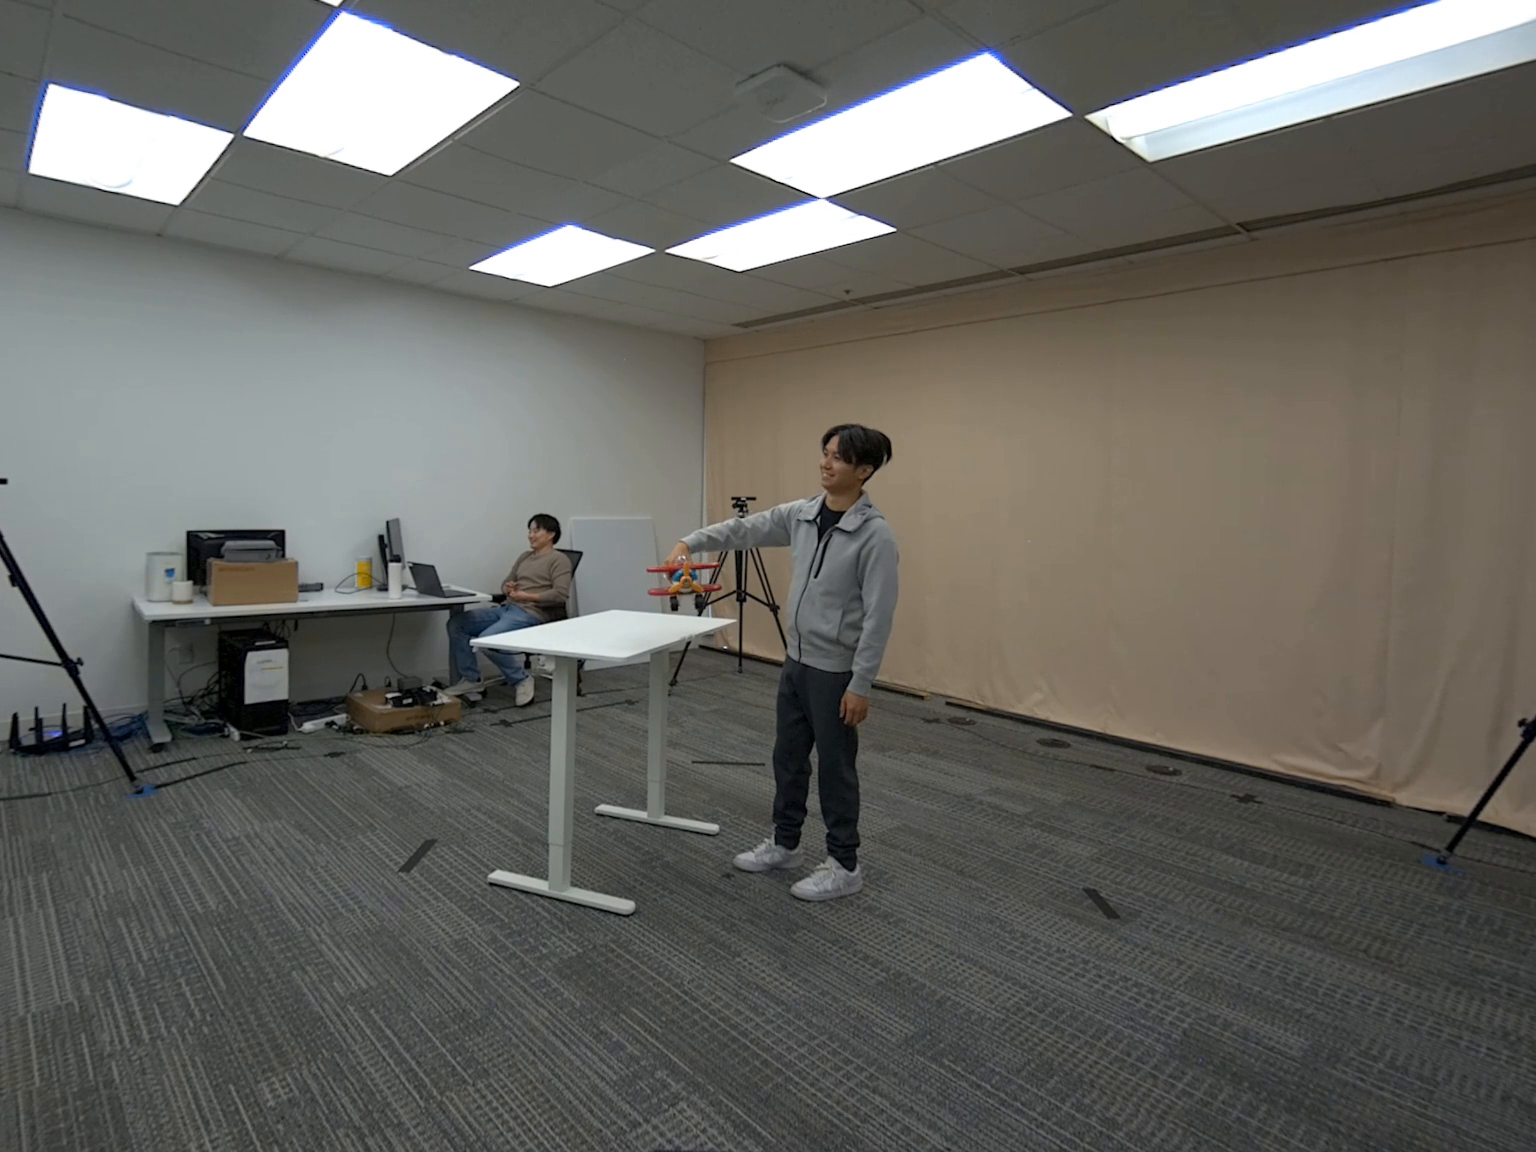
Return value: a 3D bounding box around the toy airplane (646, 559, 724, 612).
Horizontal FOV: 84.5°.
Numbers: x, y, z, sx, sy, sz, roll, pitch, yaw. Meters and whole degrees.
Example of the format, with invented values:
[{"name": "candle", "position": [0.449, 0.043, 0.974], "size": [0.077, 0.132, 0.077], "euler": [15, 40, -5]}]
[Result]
[{"name": "toy airplane", "position": [-0.317, 0.008, 2.913], "size": [0.247, 0.154, 0.267], "euler": [-17, 27, -36]}]
